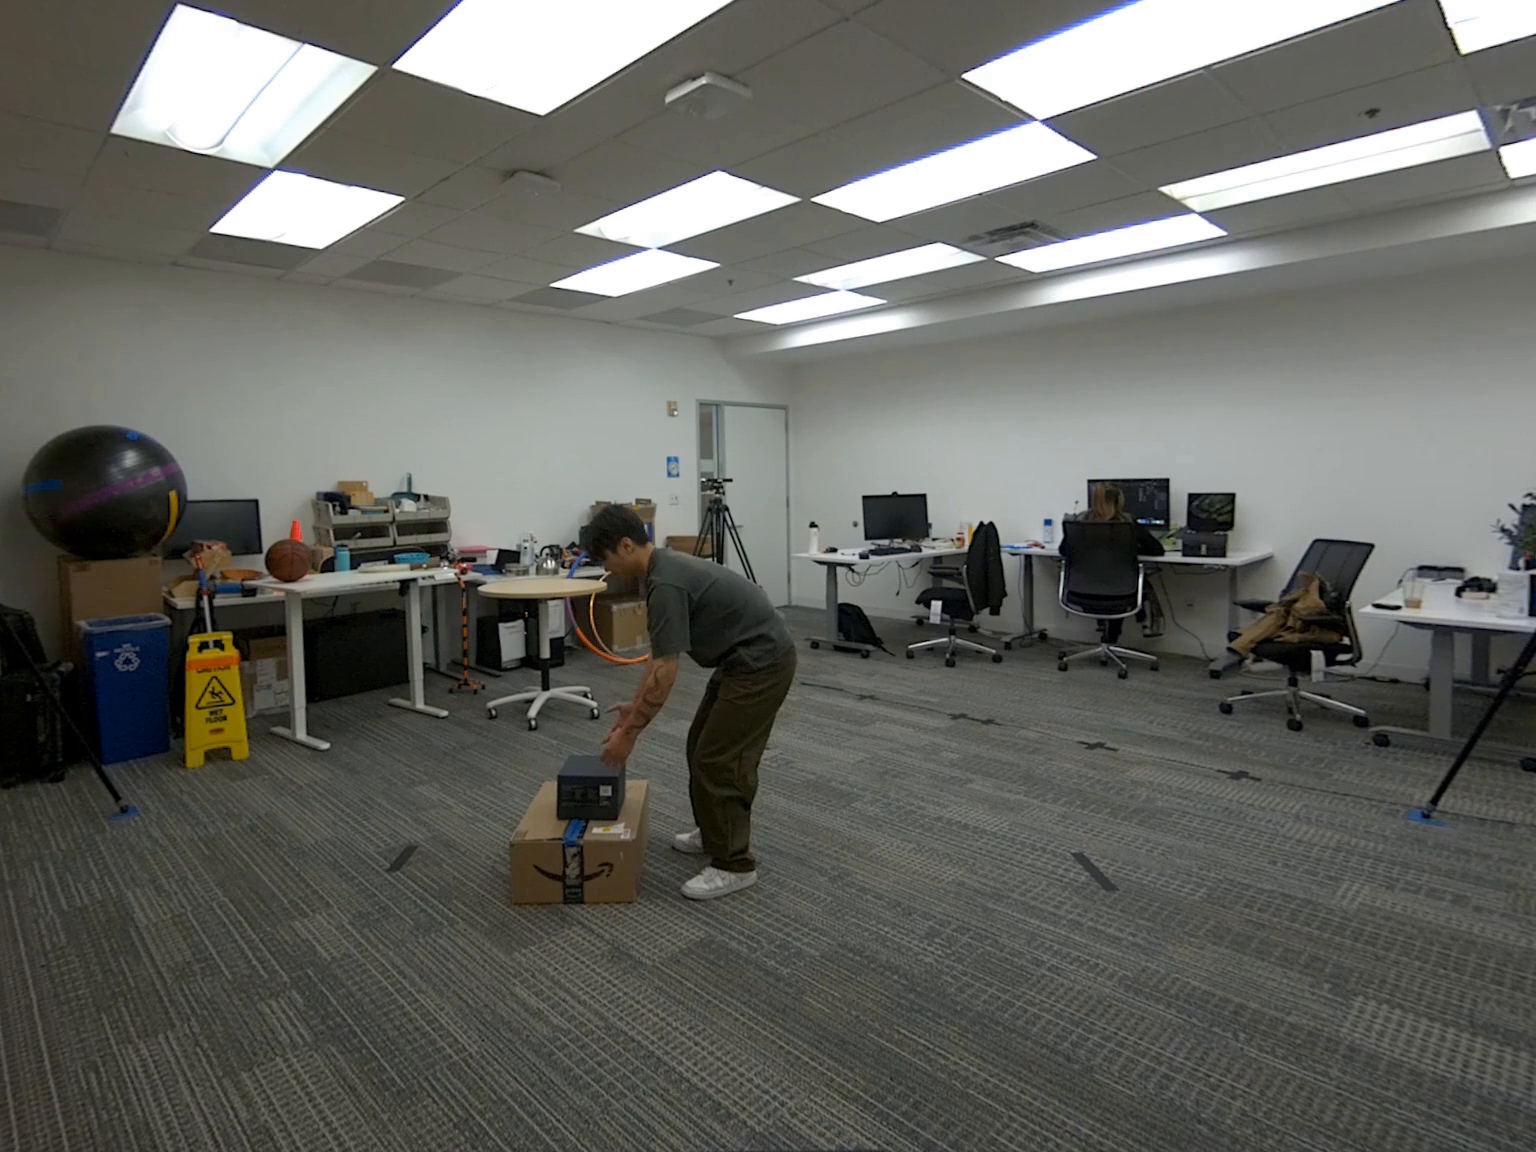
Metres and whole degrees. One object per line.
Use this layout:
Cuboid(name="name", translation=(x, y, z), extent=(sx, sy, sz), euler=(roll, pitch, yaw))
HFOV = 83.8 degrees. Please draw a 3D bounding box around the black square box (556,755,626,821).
Cuboid(name="black square box", translation=(-0.637, 0.759, 3.085), extent=(0.217, 0.155, 0.229), euler=(0, 6, -1))
